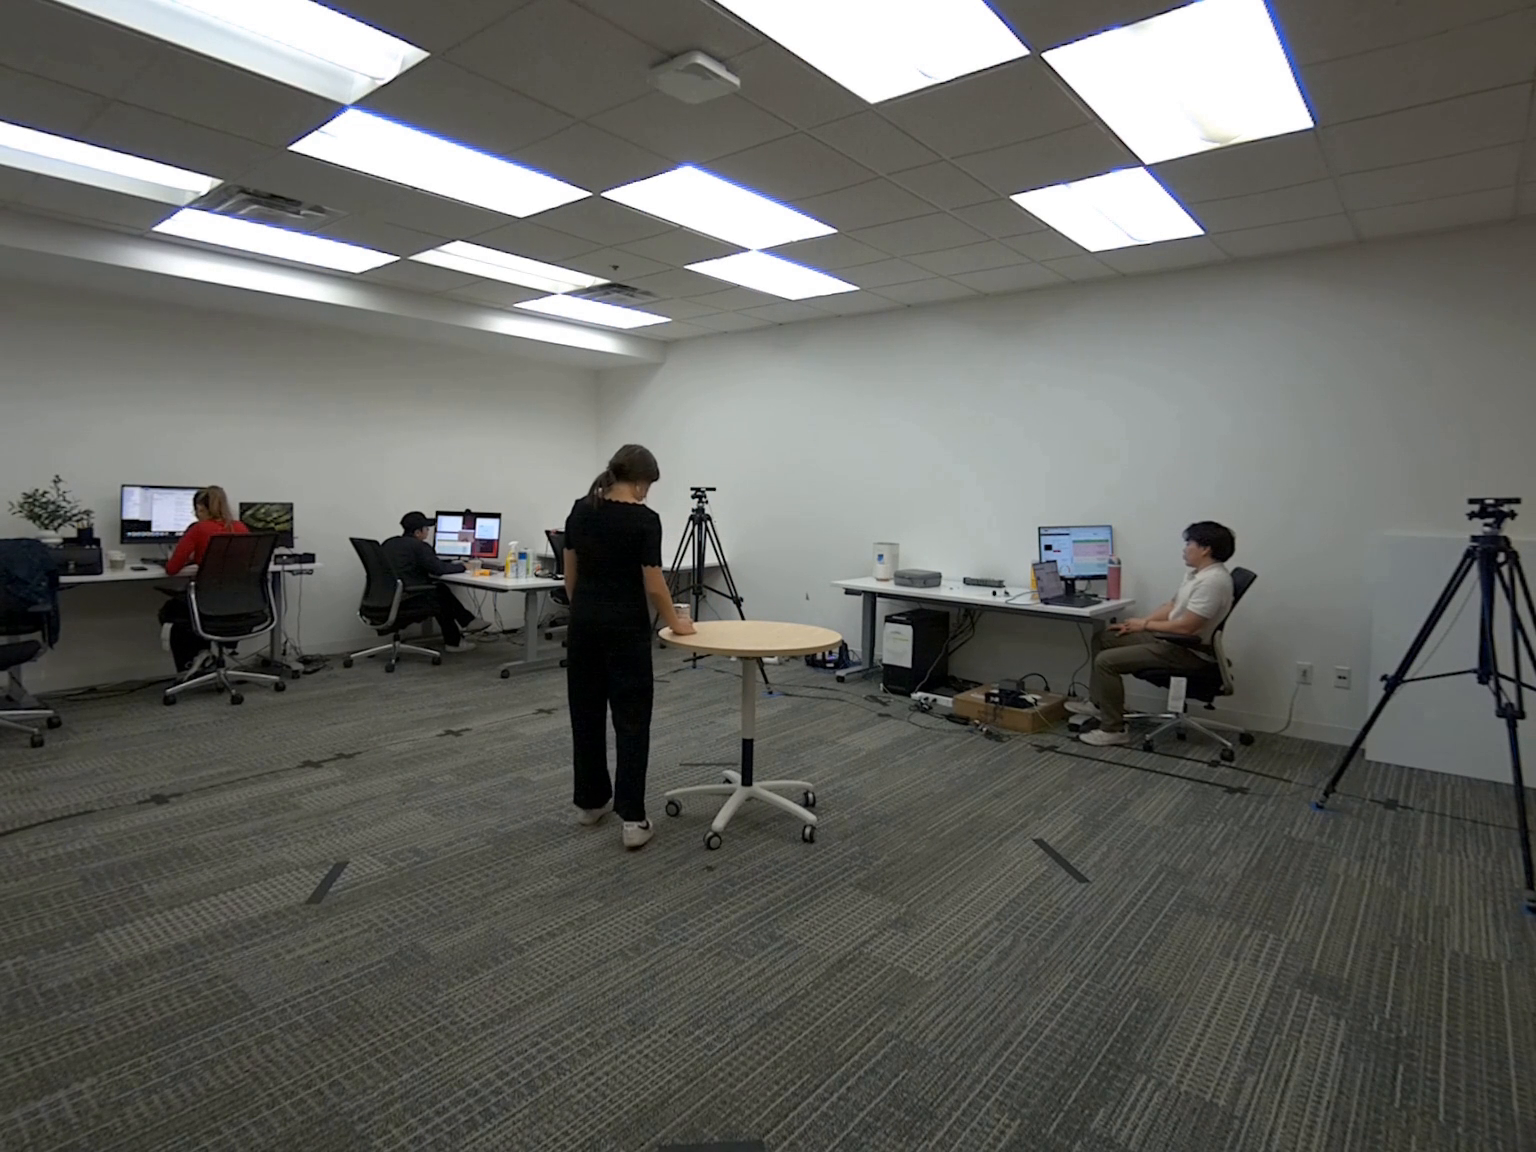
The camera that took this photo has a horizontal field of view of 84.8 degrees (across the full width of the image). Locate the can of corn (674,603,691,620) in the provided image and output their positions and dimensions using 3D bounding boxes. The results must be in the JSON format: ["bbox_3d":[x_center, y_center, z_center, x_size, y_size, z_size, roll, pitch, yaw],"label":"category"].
[{"bbox_3d":[-0.376,0.176,3.589,0.074,0.111,0.074,0,3,-2],"label":"can of corn"}]
